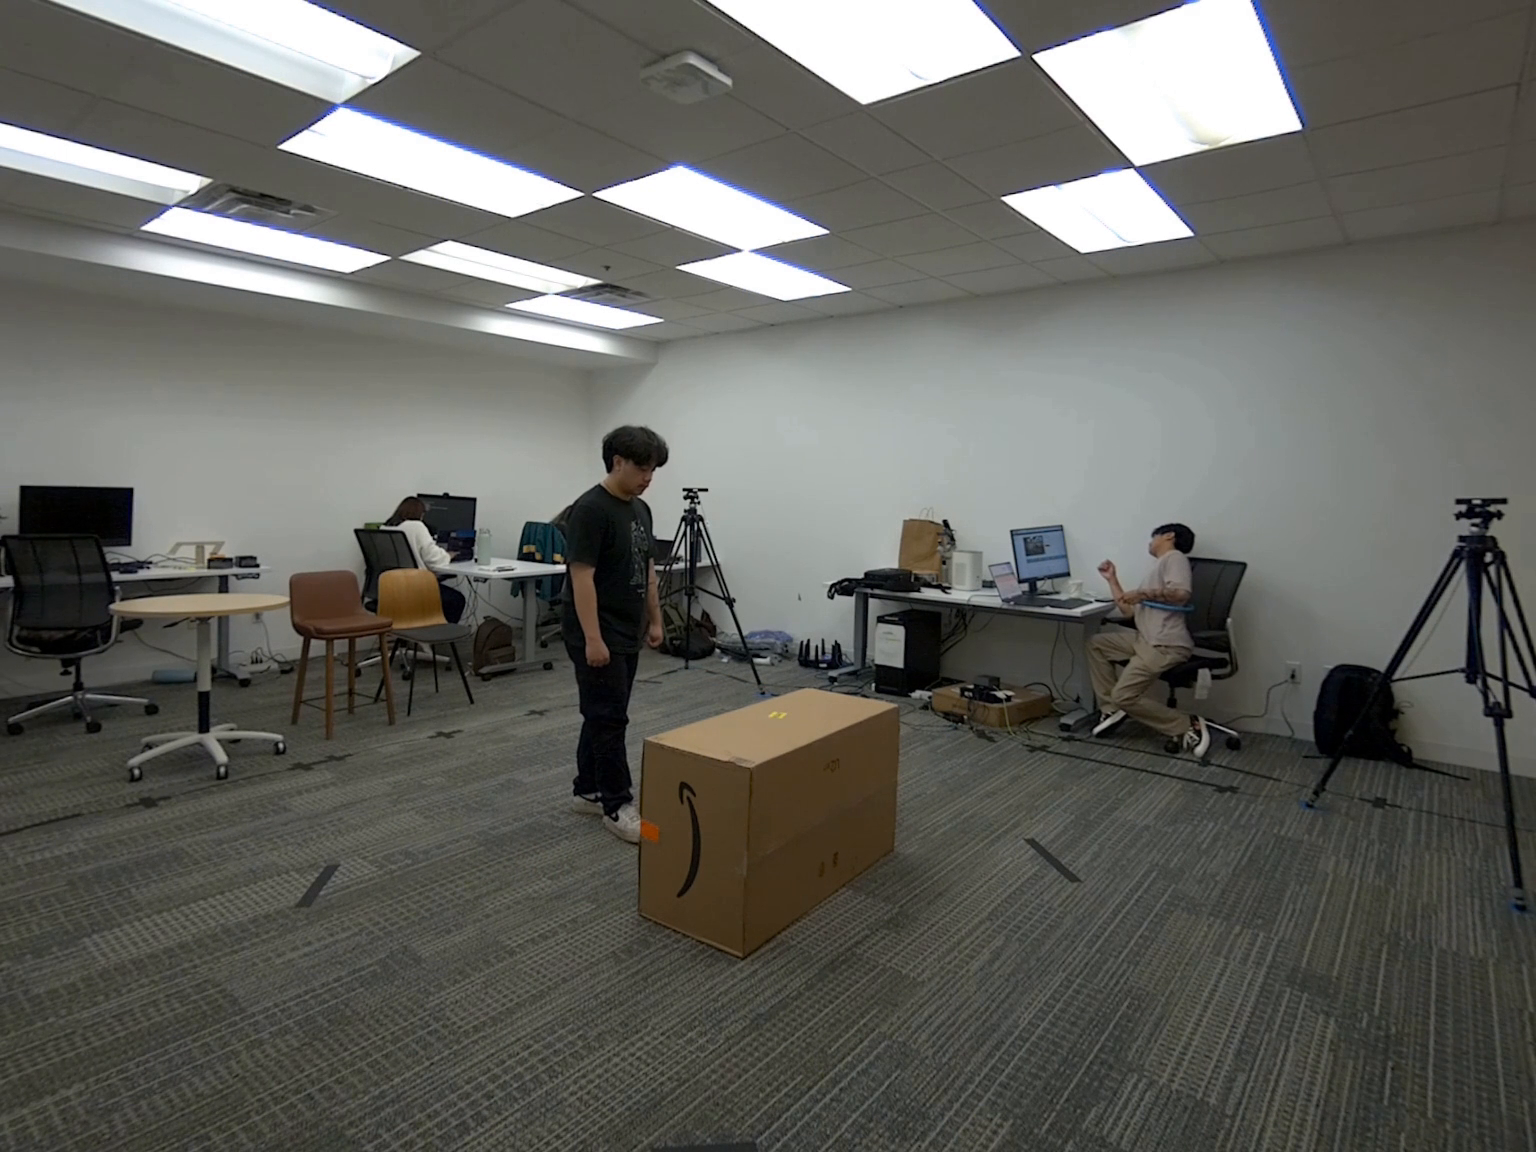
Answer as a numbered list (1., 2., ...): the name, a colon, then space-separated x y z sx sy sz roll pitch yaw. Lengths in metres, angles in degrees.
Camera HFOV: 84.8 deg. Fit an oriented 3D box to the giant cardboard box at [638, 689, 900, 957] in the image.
1. giant cardboard box: 0.036 0.797 3.026 0.461 0.582 0.998 3 4 35
